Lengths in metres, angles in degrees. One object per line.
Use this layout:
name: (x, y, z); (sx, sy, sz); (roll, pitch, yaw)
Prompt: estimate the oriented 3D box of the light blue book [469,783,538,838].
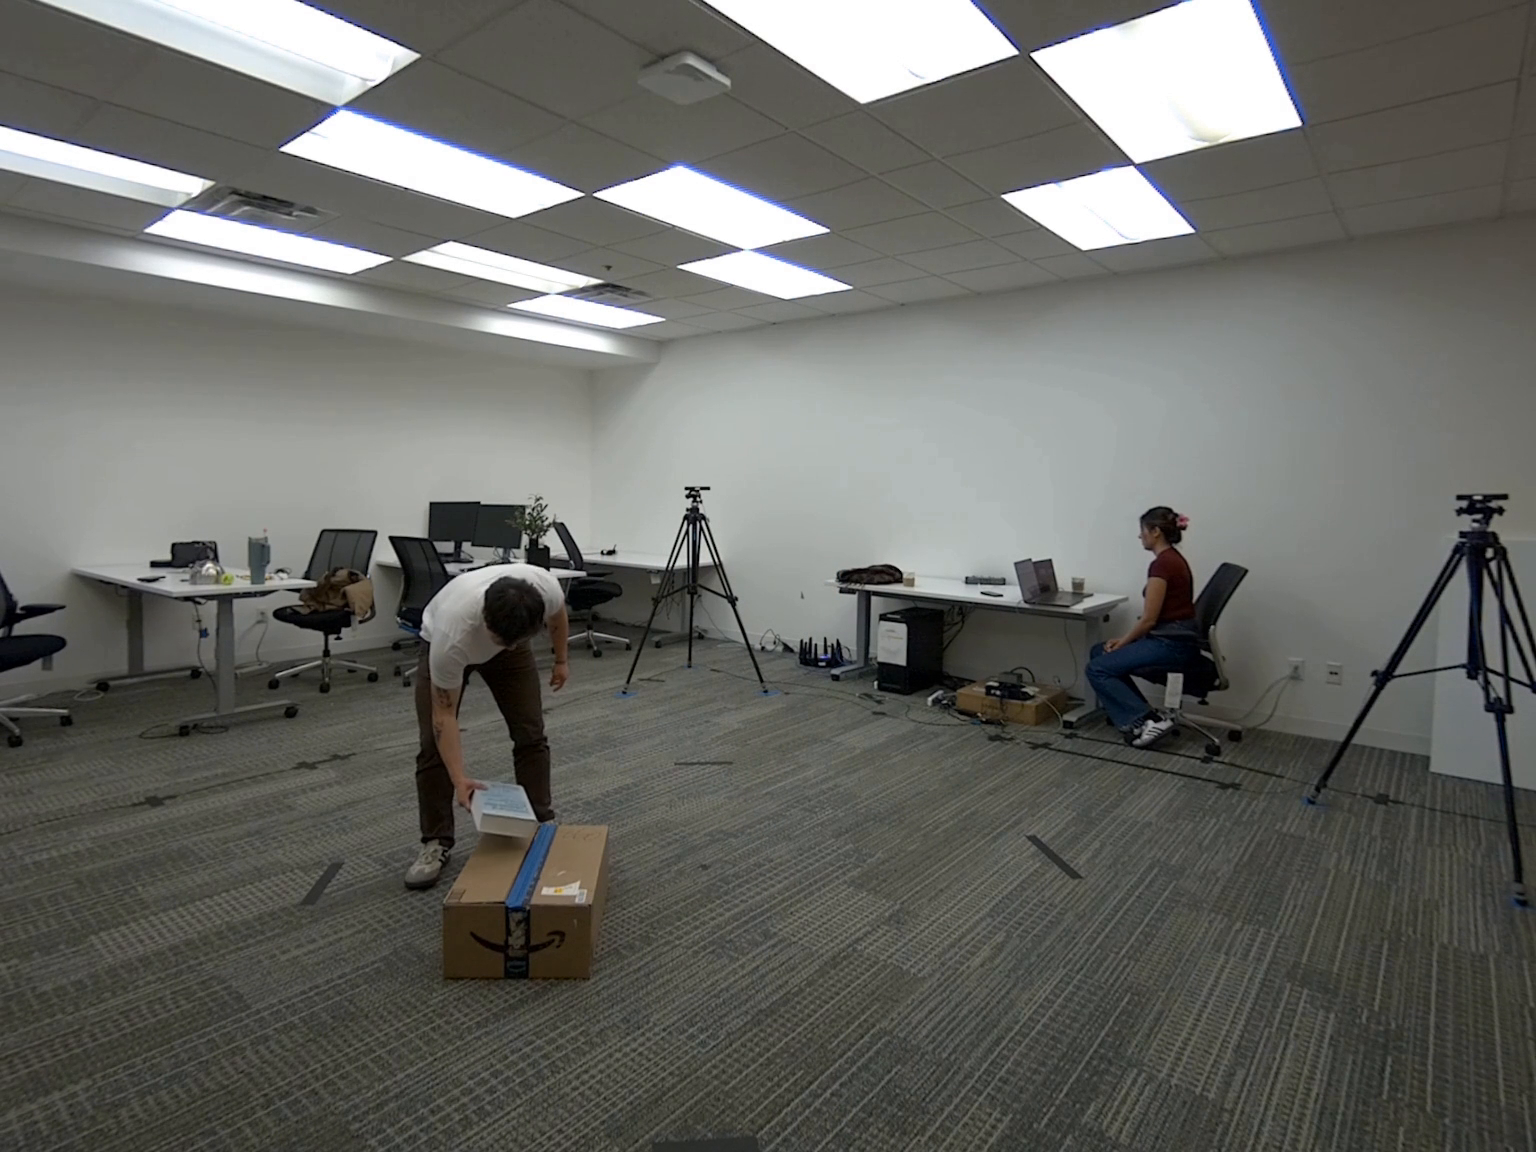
light blue book: (-0.892, 0.766, 2.819); (0.186, 0.059, 0.269); (16, 3, -27)
